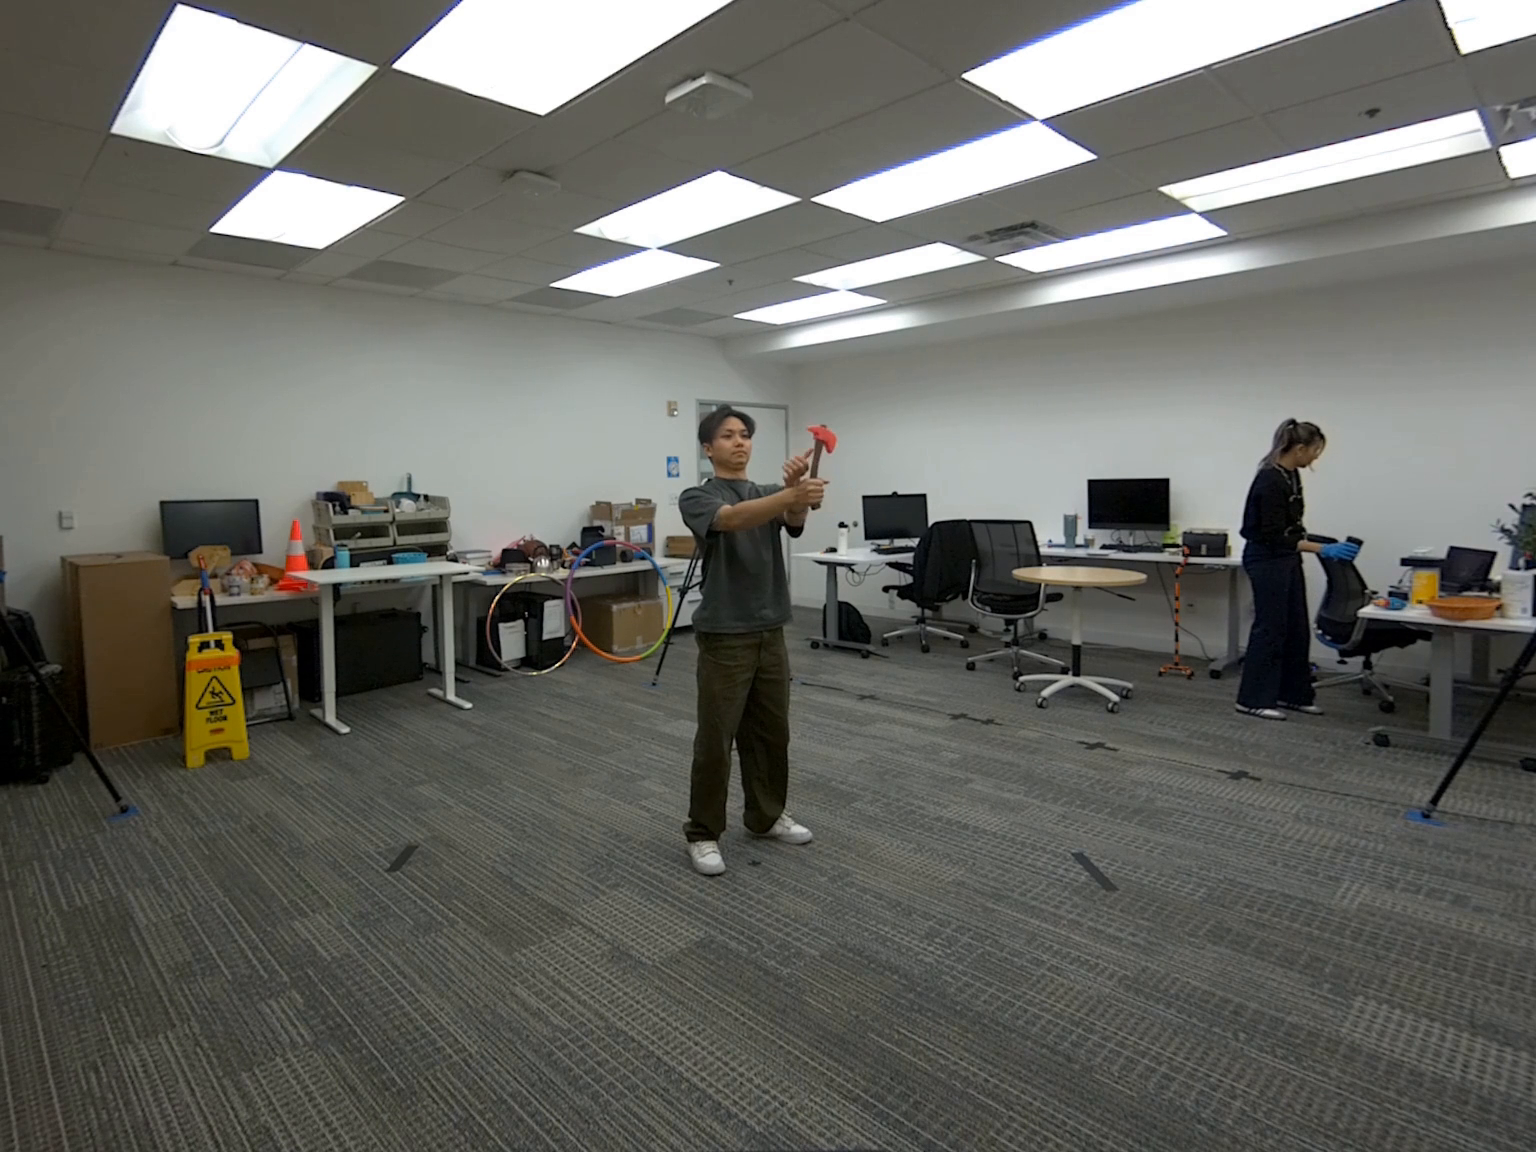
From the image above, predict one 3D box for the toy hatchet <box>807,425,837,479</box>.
[{"bbox_3d":[0.178,-0.353,2.756,0.128,0.269,0.030,-7,6,-39],"label":"toy hatchet"}]
